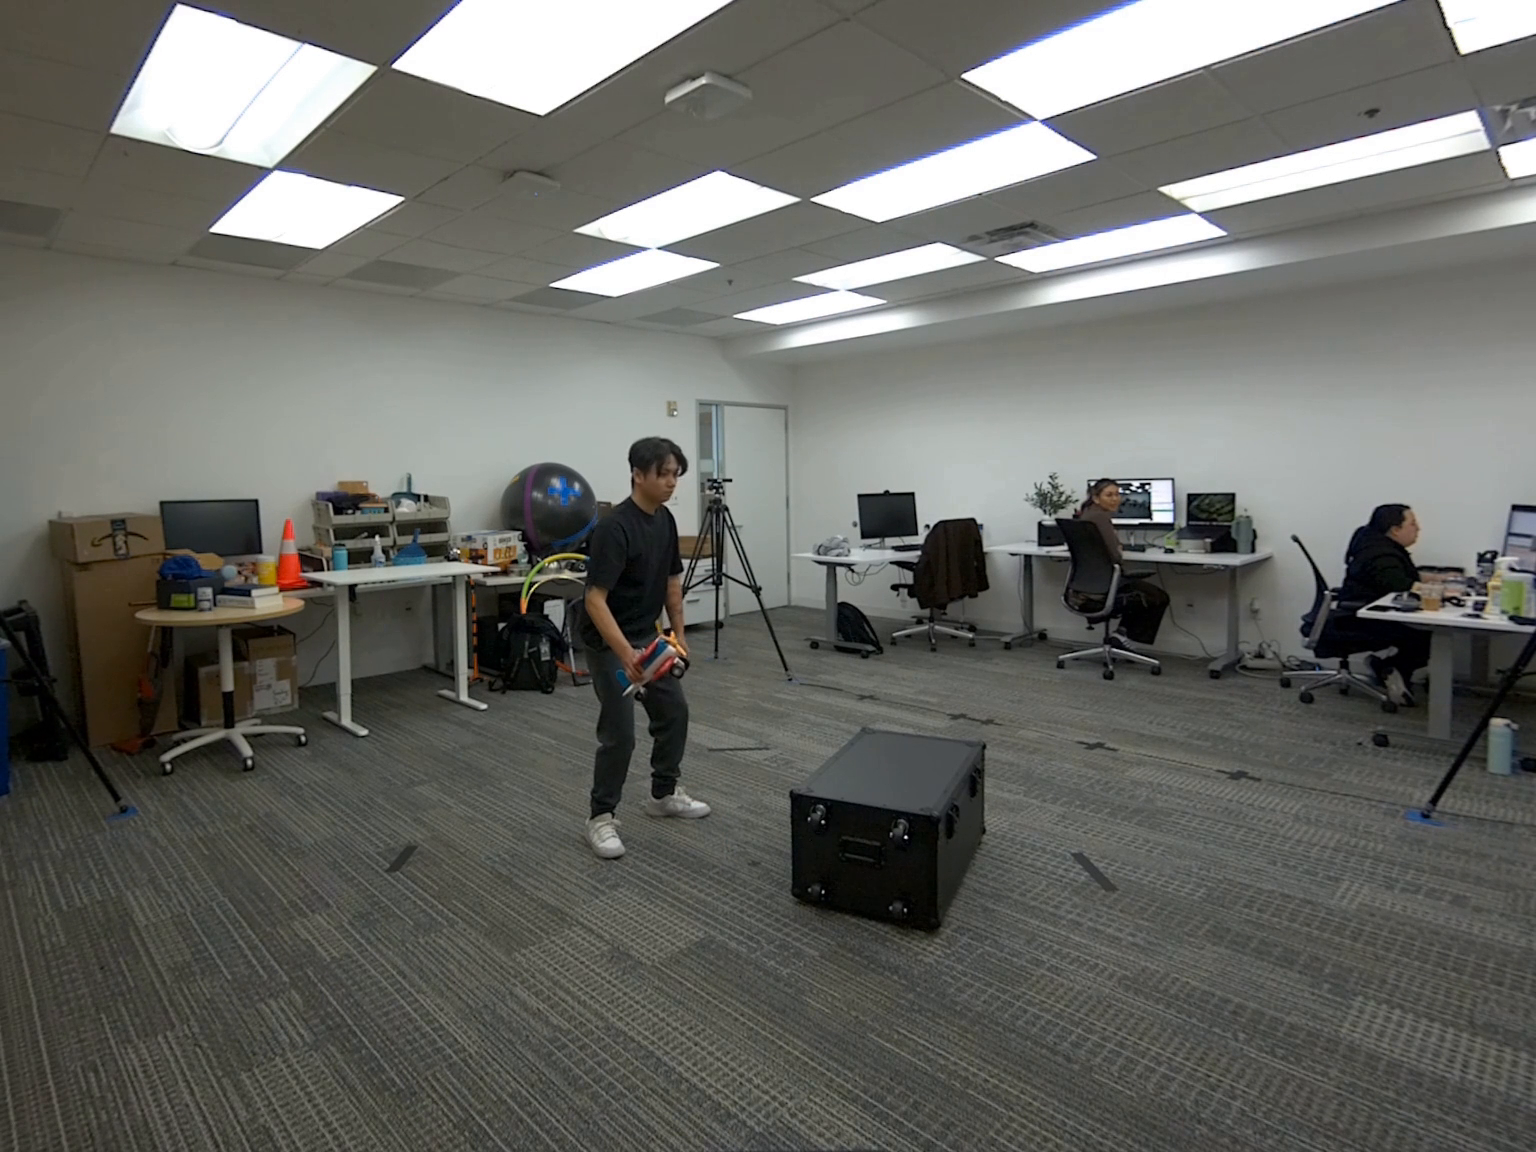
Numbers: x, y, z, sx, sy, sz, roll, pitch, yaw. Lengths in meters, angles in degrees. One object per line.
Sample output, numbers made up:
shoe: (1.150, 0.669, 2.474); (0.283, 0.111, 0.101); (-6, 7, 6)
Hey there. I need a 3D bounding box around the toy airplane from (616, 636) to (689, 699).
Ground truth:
toy airplane: (-0.397, 0.317, 2.957); (0.258, 0.156, 0.253); (-33, 3, -16)
